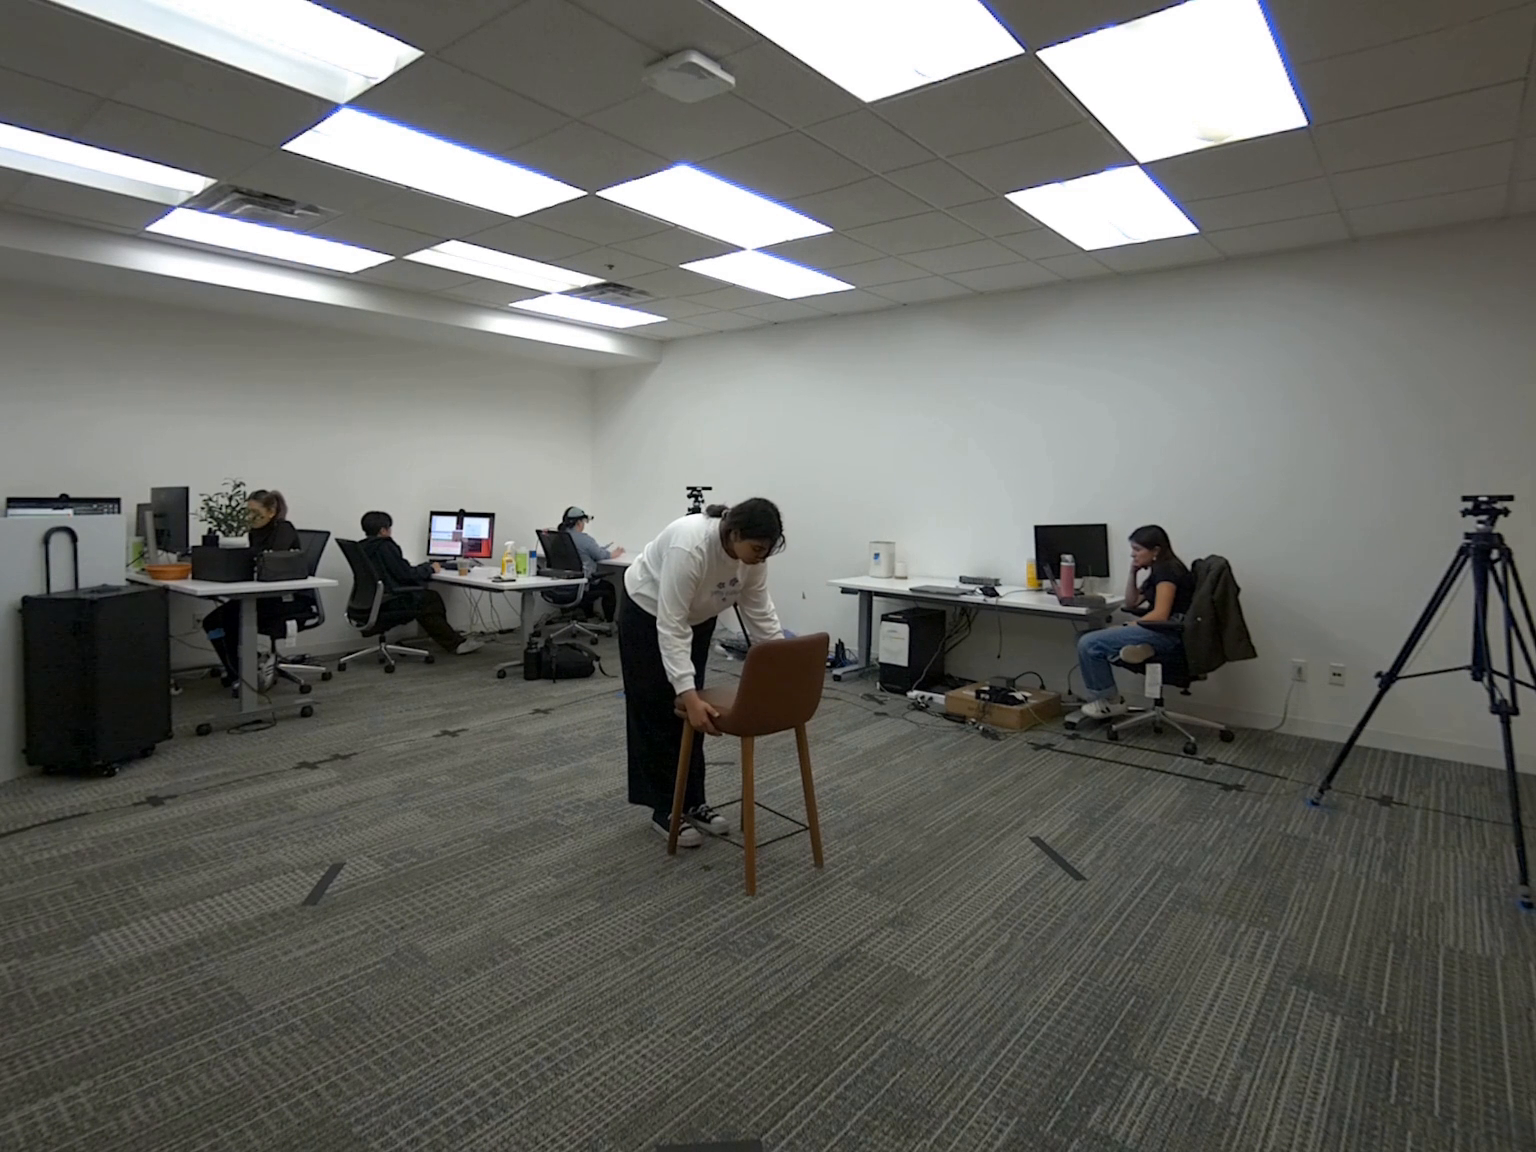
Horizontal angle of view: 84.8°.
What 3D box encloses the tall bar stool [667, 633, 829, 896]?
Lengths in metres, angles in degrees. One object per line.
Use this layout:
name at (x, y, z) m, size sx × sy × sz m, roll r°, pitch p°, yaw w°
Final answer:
tall bar stool at (-0.068, 0.623, 3.159) m, size 0.442 × 0.887 × 0.484 m, roll -1°, pitch 5°, yaw -43°
